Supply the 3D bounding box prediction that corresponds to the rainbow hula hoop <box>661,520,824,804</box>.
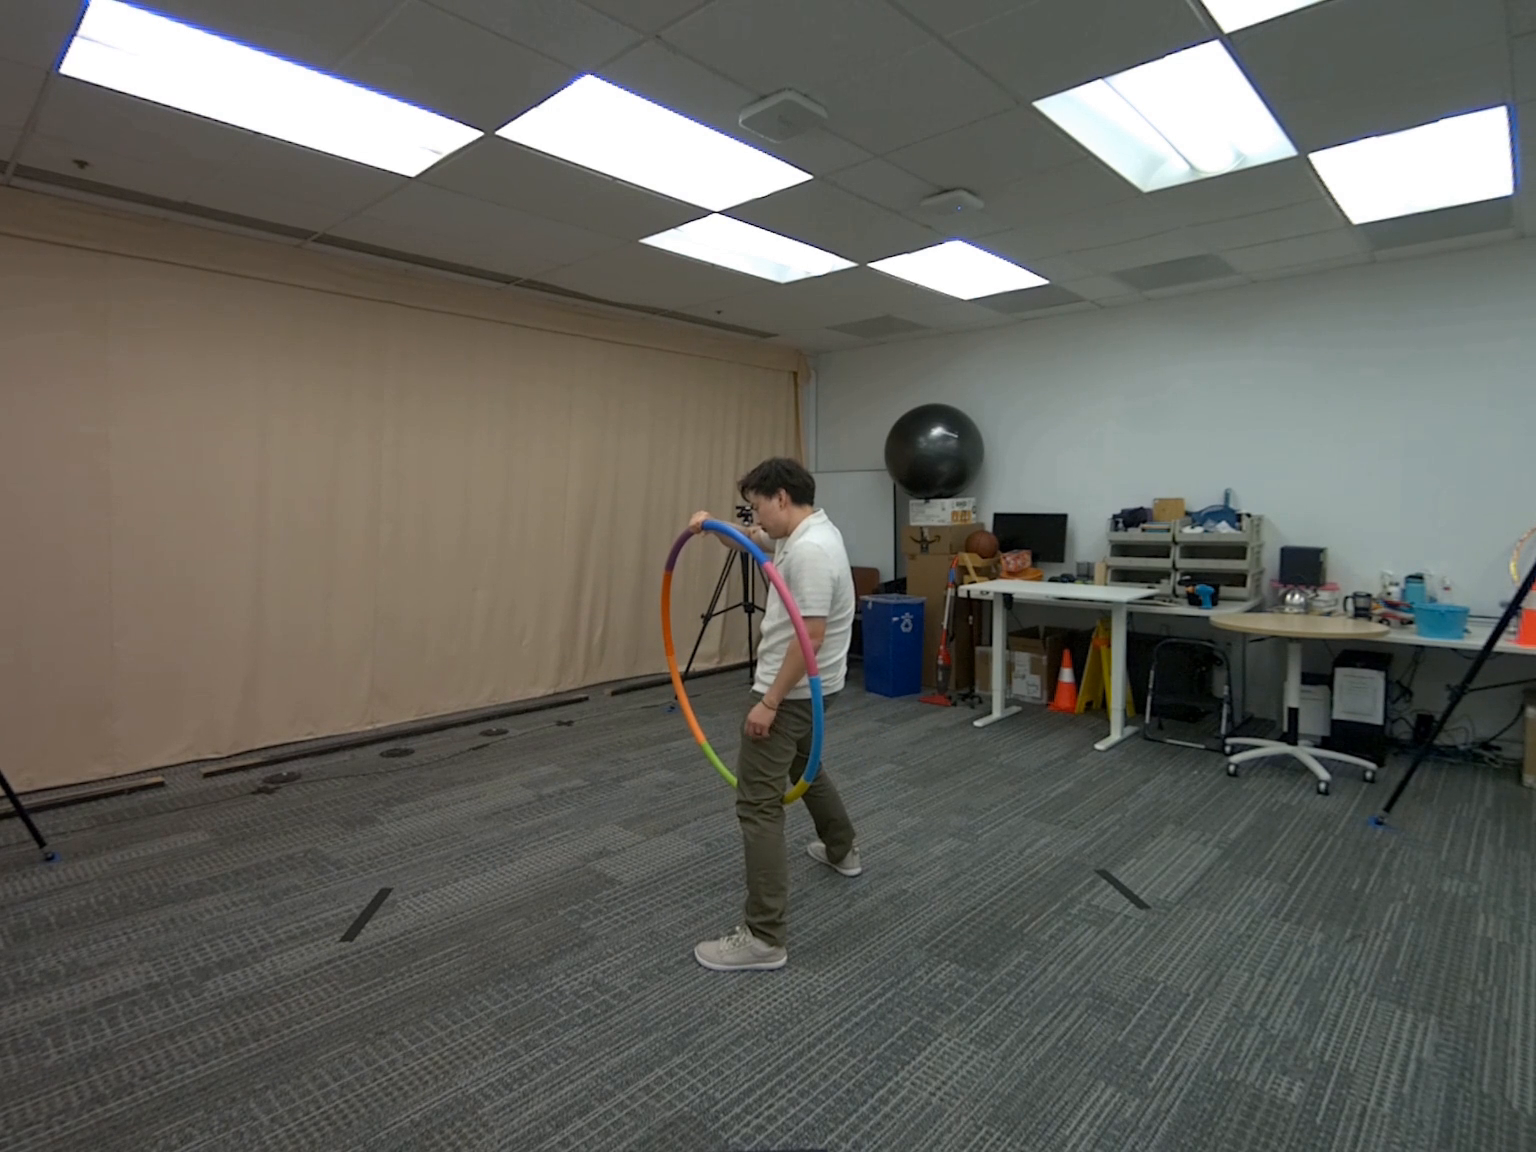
[{"bbox_3d":[-0.125,0.295,2.885,0.035,0.972,1.009,-14,11,-32],"label":"rainbow hula hoop"}]
